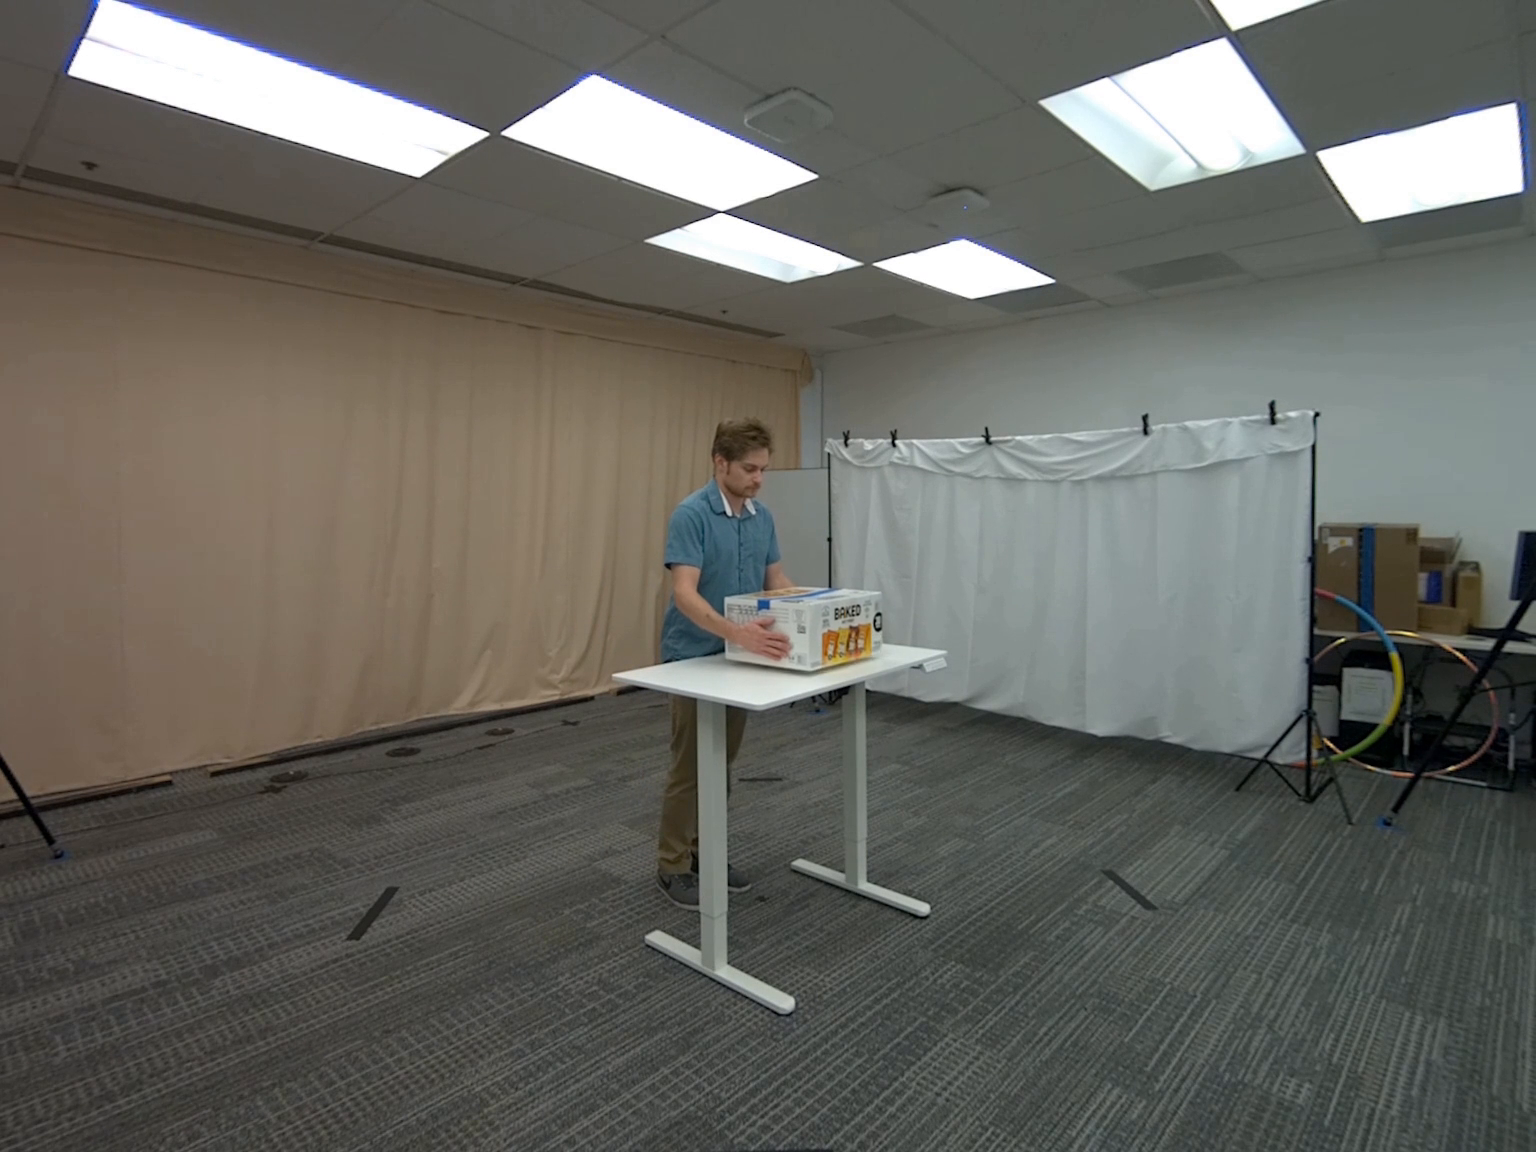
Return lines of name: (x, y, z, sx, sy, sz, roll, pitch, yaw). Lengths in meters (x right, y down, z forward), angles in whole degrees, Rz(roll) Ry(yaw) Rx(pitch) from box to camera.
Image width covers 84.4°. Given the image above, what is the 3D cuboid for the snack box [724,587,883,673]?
snack box: (0.126, 0.159, 2.731, 0.351, 0.205, 0.393, 2, 6, 40)
